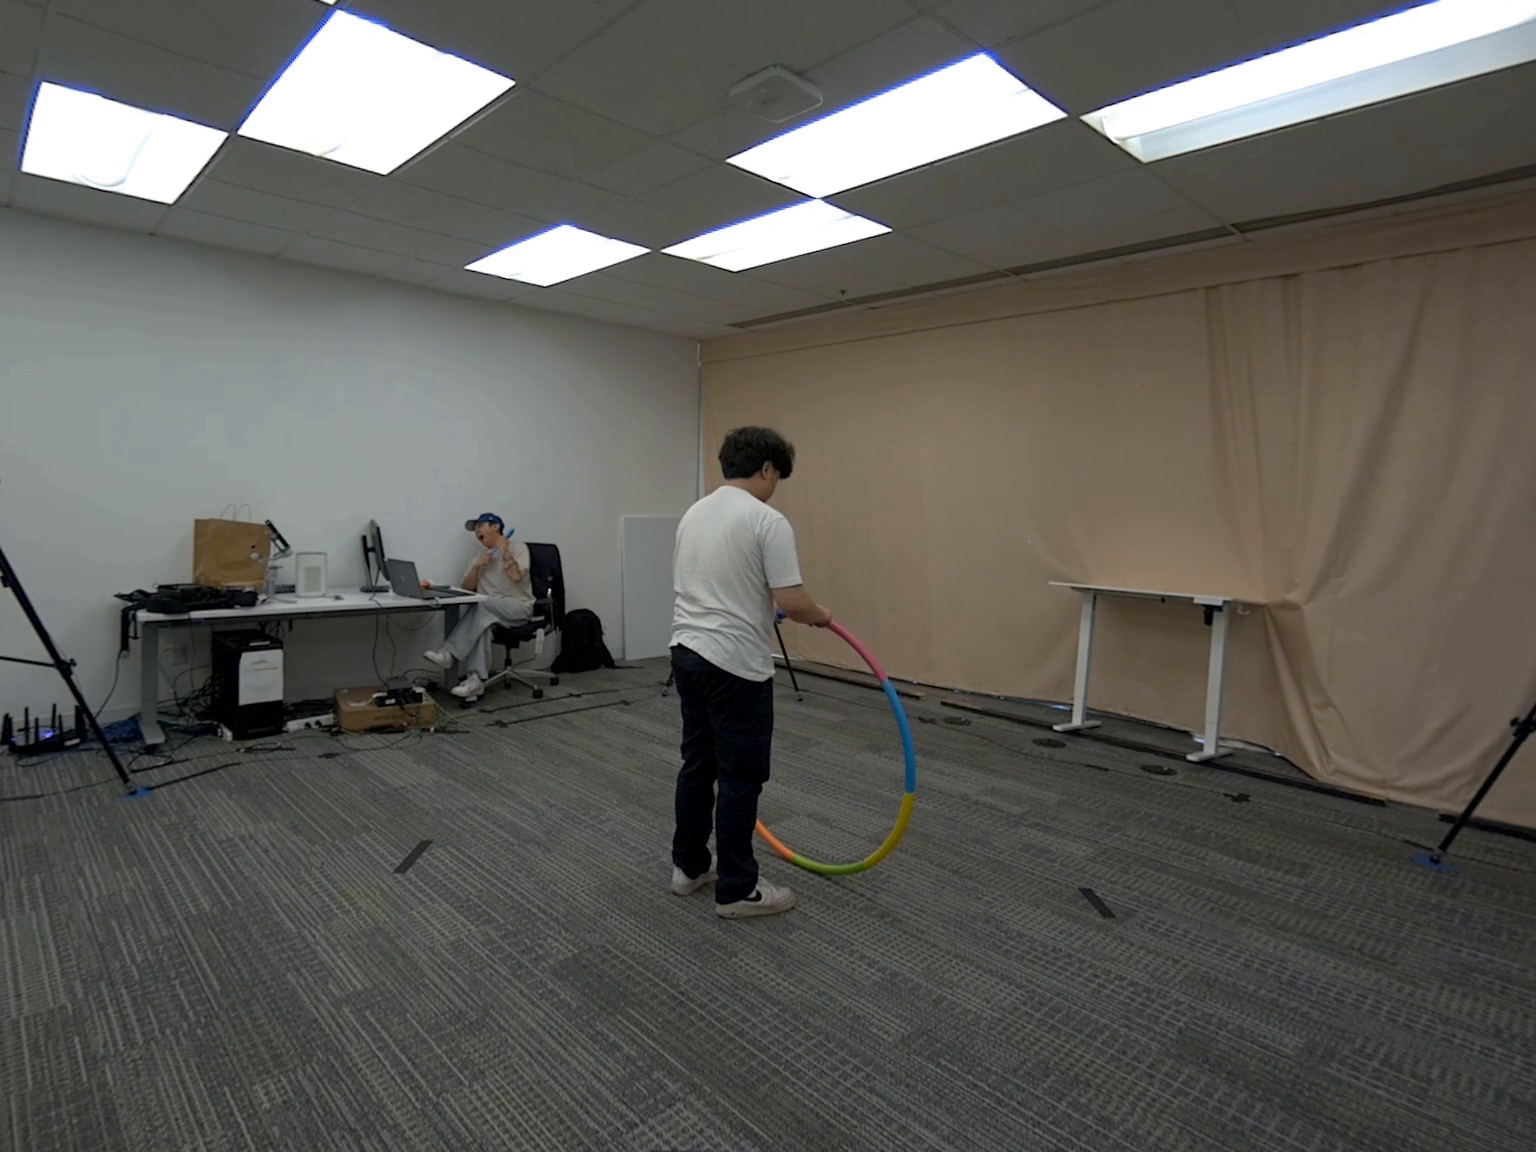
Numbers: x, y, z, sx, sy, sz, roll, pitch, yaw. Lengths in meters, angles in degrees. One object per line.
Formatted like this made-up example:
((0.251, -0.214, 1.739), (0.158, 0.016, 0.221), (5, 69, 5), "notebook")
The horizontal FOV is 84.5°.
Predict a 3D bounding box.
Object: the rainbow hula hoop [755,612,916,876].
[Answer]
((0.120, 0.619, 3.147), (0.050, 0.981, 1.011), (-7, 9, -43), "rainbow hula hoop")
